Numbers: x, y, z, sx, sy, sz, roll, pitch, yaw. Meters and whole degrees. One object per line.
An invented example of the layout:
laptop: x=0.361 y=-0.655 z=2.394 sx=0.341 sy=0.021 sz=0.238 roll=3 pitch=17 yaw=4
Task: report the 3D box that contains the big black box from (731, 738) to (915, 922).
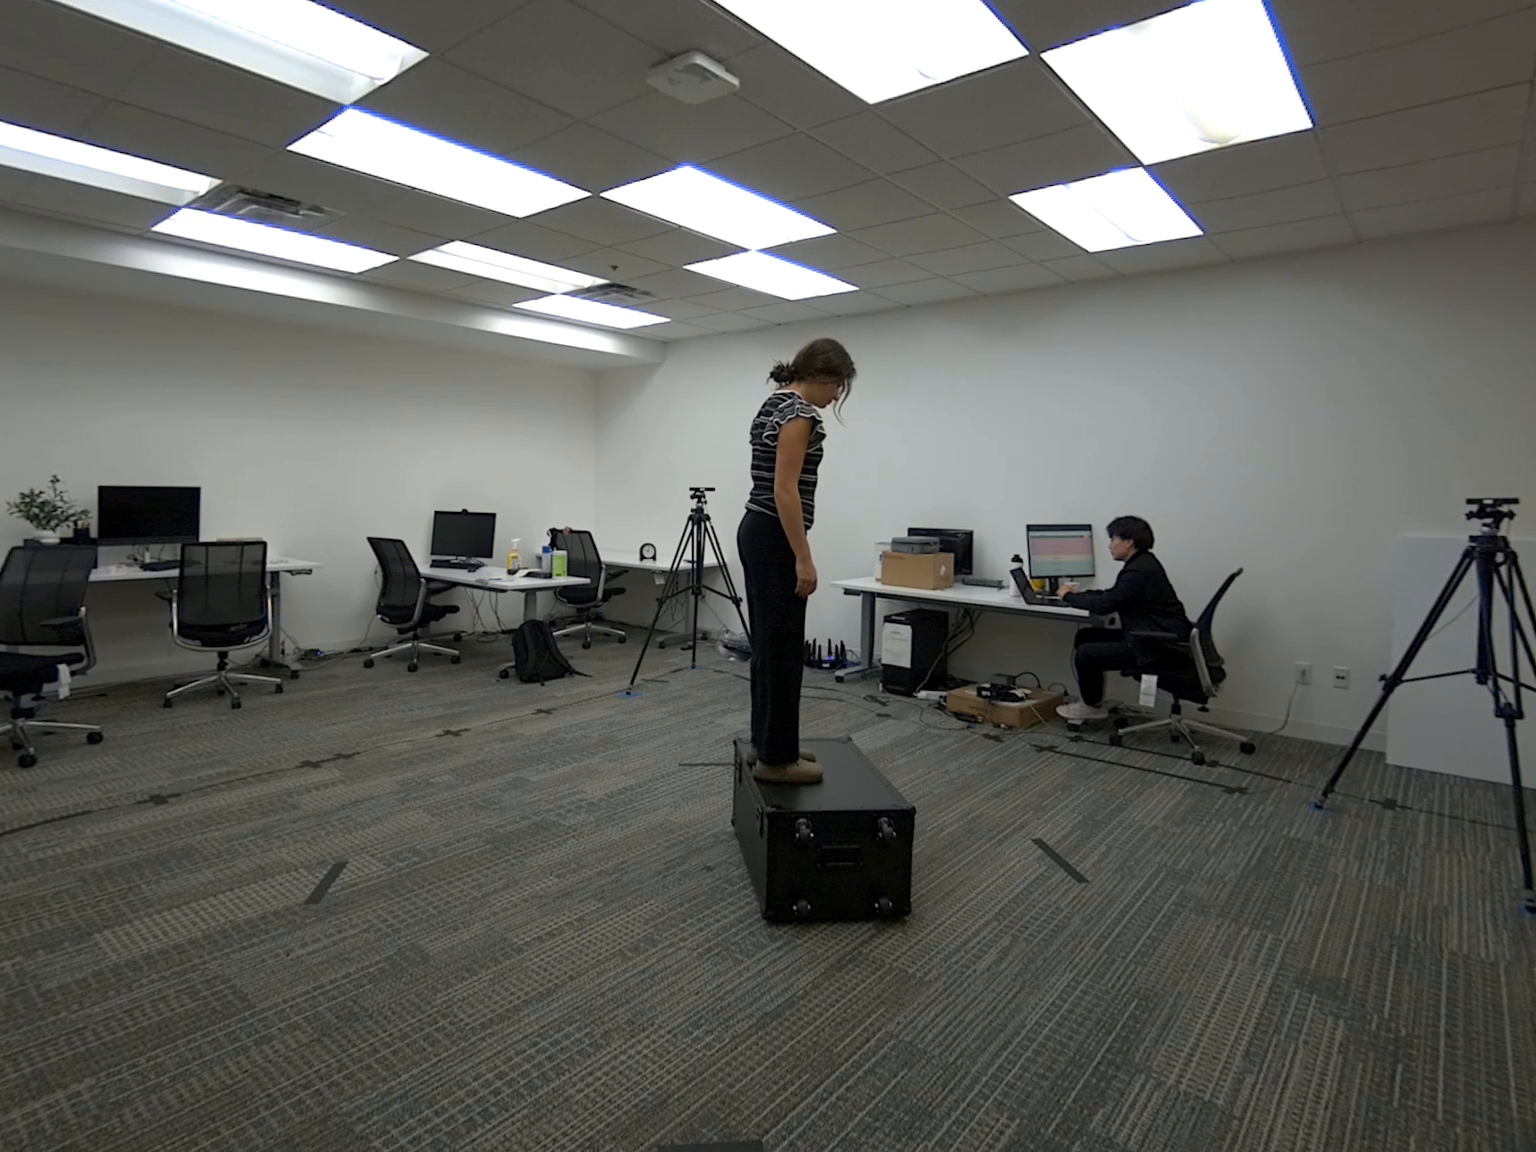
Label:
big black box: x=0.159 y=0.887 z=3.065 sx=0.516 sy=0.395 sz=0.873 roll=0 pitch=5 yaw=-10
